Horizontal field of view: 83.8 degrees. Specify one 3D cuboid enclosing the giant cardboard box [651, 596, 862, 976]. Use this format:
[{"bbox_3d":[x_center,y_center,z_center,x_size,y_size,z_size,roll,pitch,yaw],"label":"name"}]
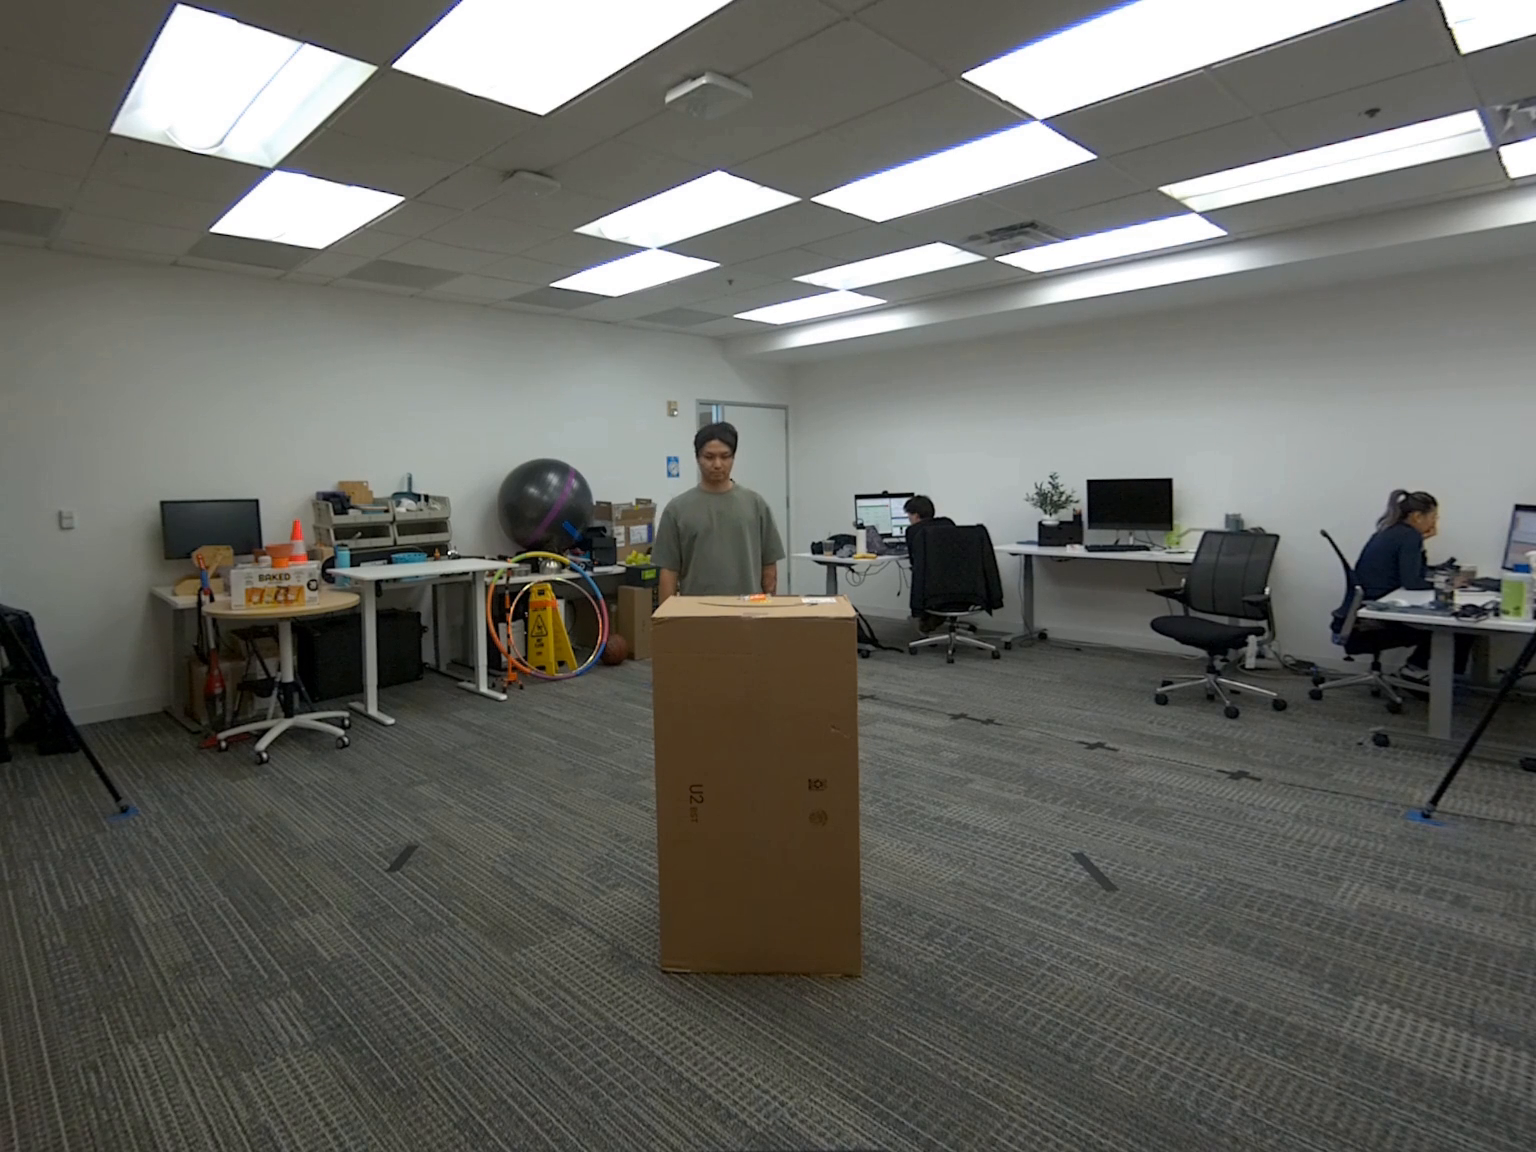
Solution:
[{"bbox_3d":[-0.024,0.597,2.590,0.579,1.023,0.426,-1,3,3],"label":"giant cardboard box"}]
